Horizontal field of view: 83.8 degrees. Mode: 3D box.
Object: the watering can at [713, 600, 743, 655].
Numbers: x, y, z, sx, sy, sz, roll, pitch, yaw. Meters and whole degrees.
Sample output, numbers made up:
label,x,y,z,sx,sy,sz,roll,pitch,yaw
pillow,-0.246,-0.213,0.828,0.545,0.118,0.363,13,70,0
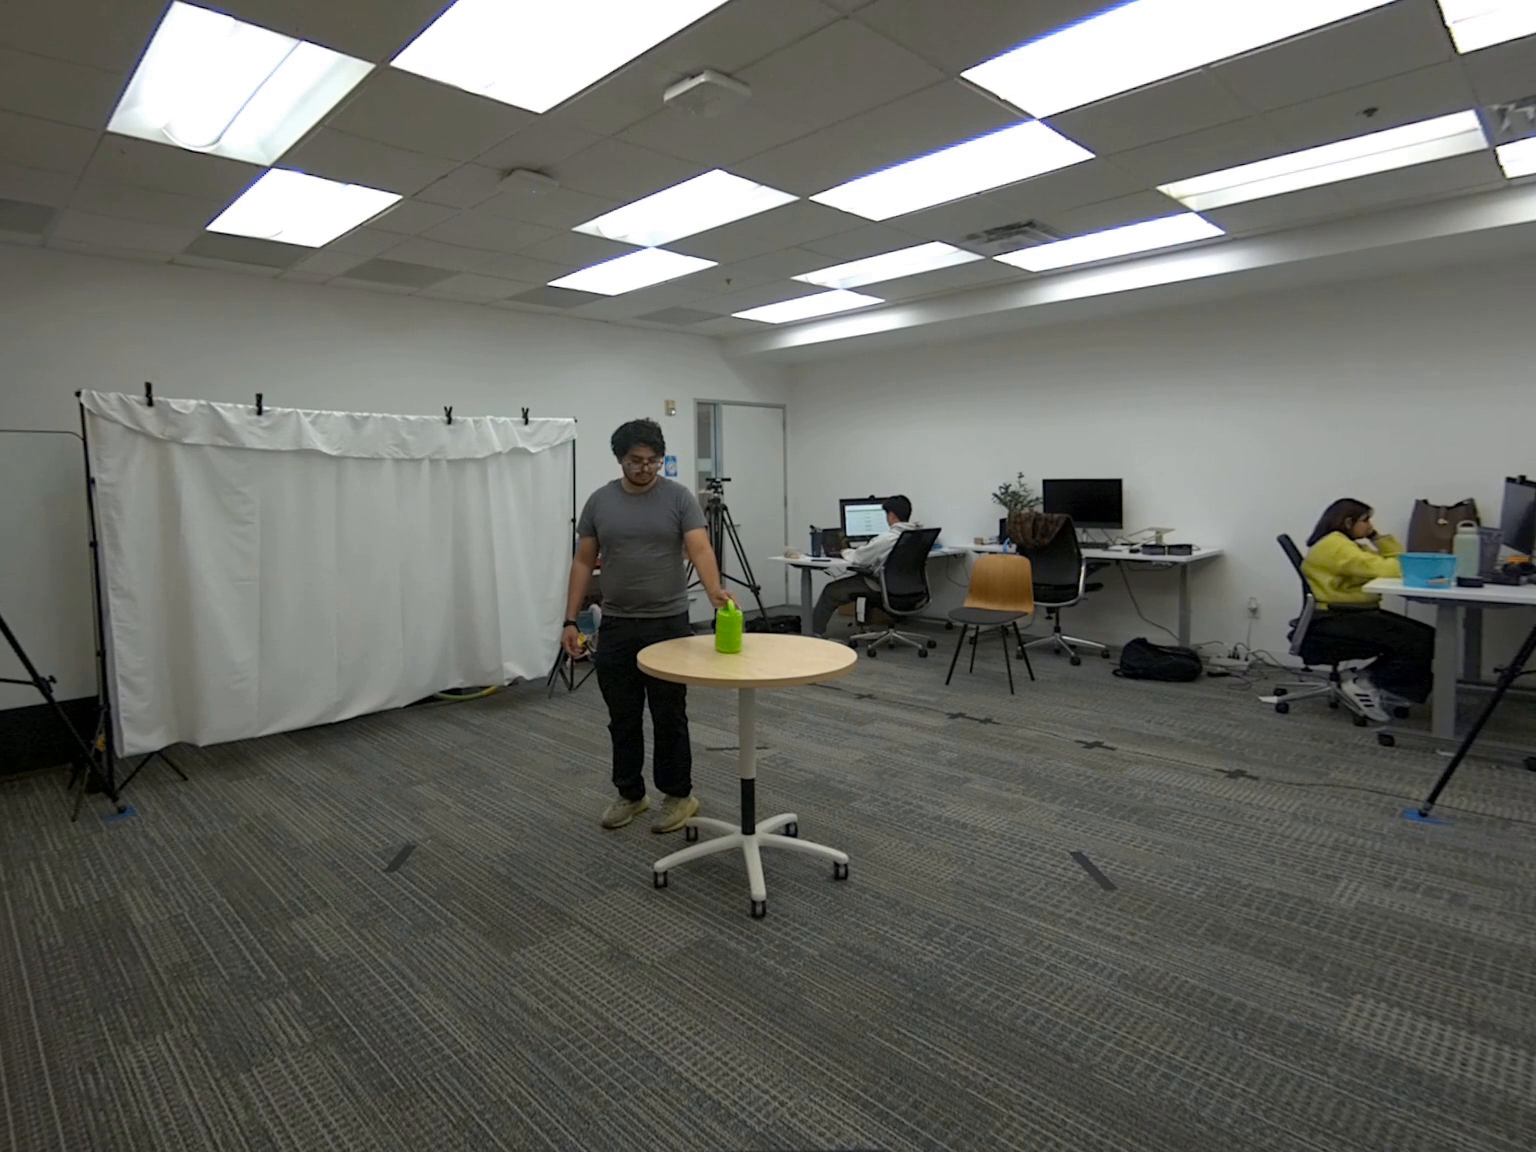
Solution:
label,x,y,z,sx,sy,sz,roll,pitch,yaw
watering can,-0.132,0.184,2.997,0.098,0.176,0.279,0,8,2
